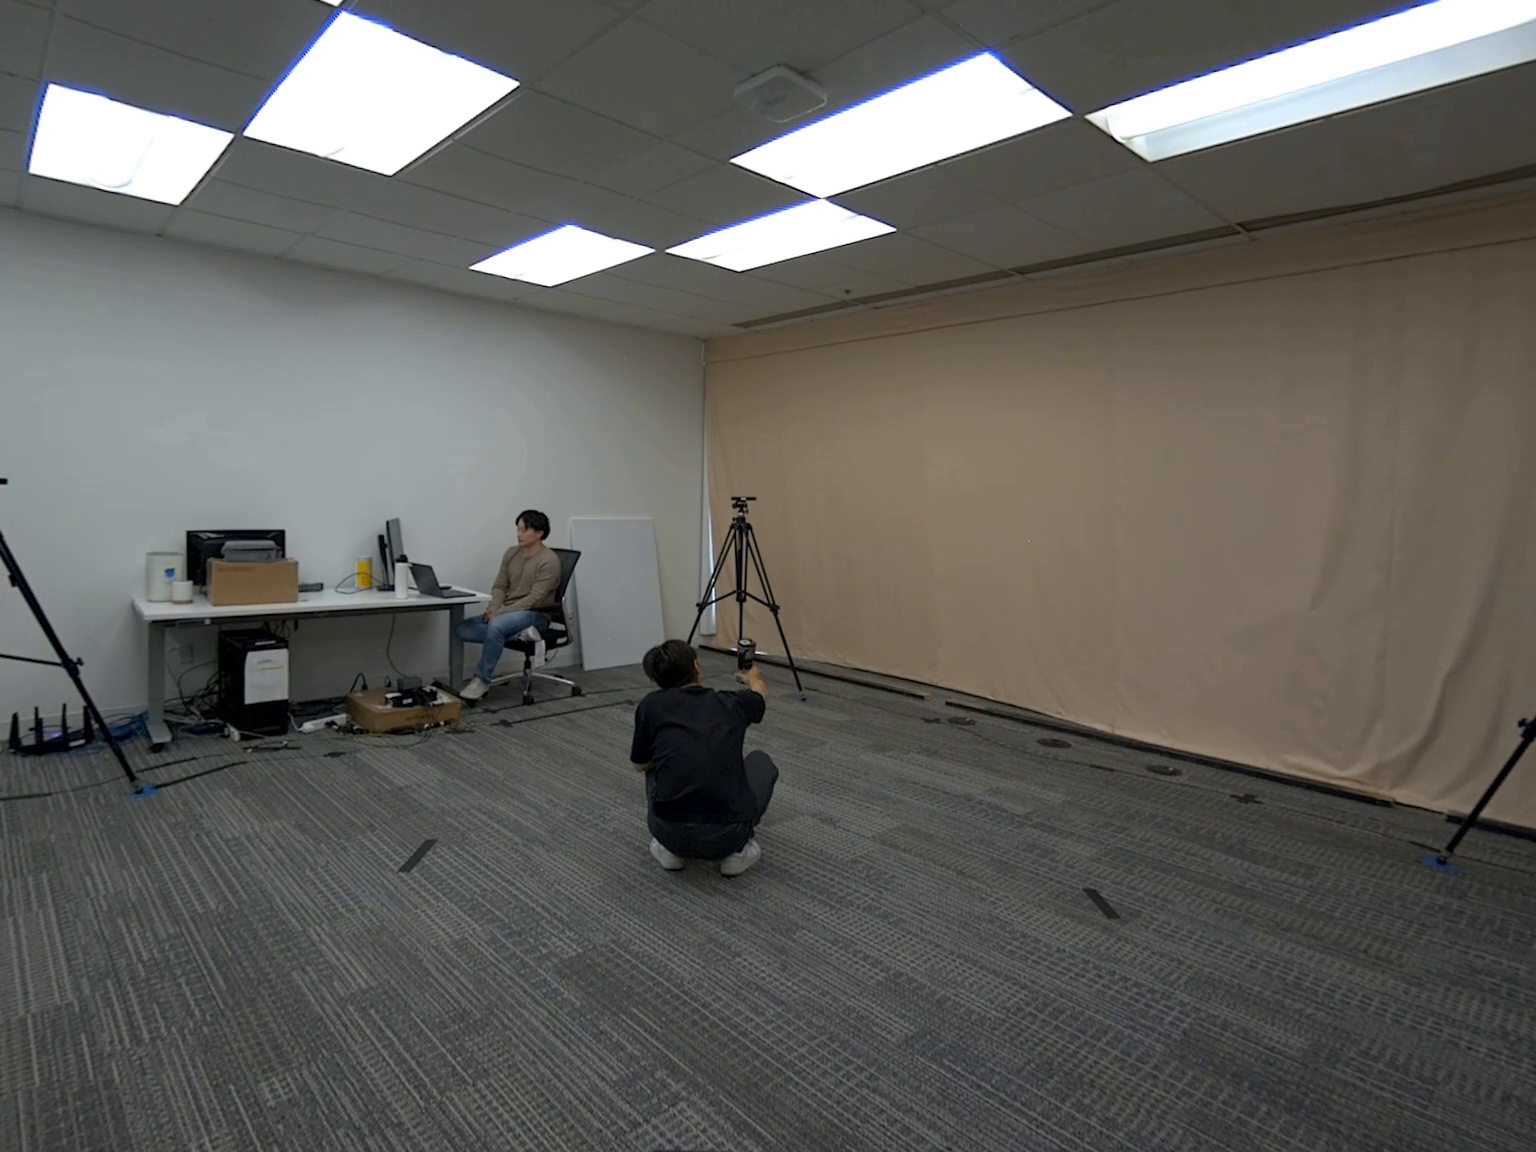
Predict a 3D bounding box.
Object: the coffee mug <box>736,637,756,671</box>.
[{"bbox_3d":[-0.131,0.408,3.869,0.120,0.201,0.090,-12,27,-44],"label":"coffee mug"}]
